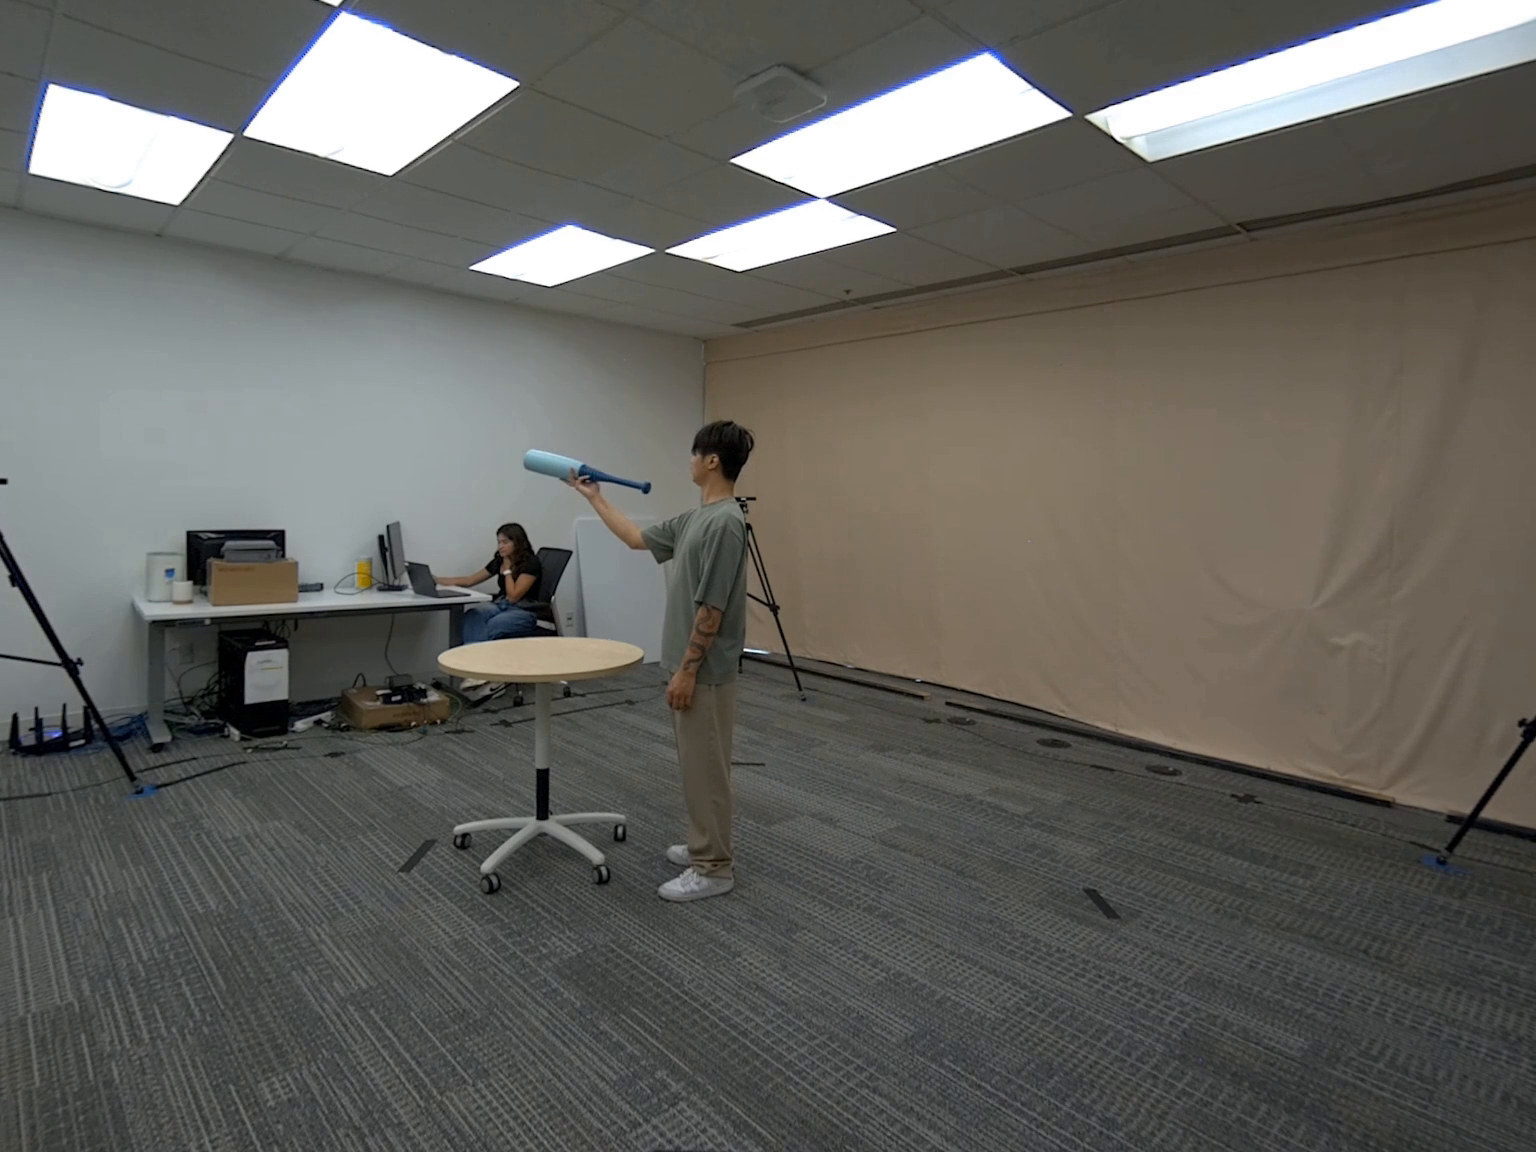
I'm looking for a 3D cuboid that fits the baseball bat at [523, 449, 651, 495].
[{"bbox_3d":[-0.712,-0.403,3.299,0.551,0.089,0.088,15,7,15],"label":"baseball bat"}]
